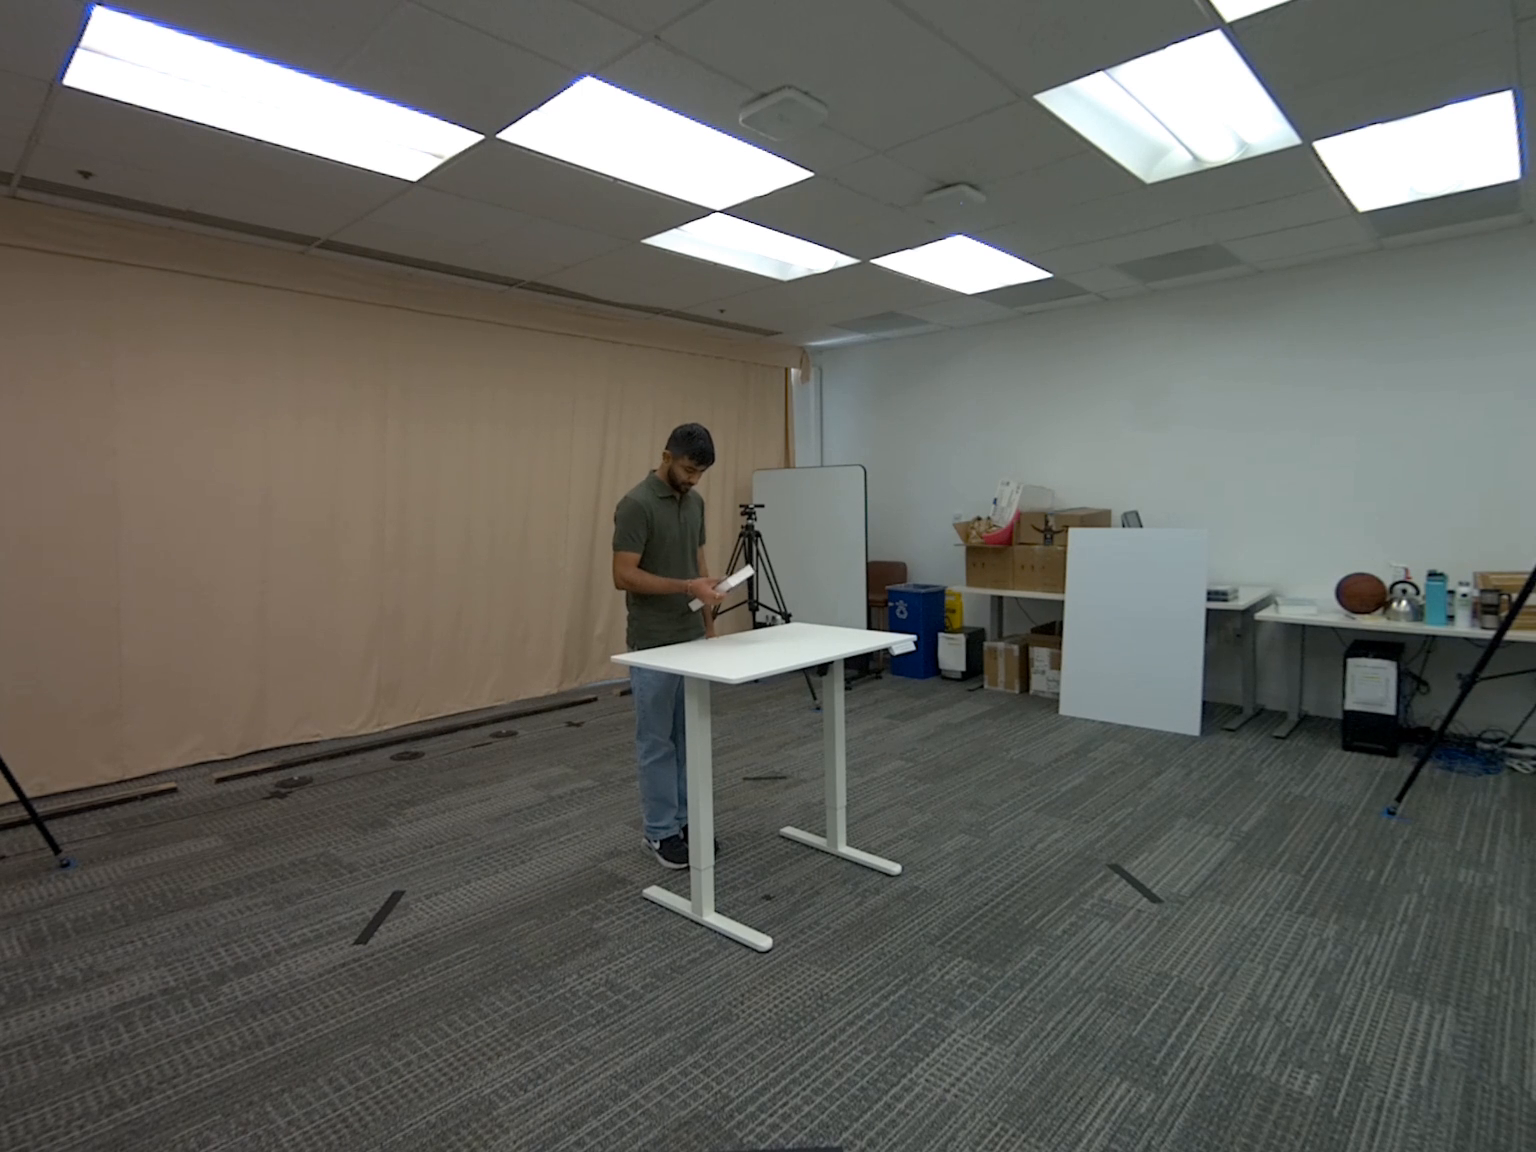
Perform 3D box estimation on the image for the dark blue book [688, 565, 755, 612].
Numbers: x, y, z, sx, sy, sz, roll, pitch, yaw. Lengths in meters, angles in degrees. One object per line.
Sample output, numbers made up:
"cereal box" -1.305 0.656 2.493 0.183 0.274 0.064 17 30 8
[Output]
"dark blue book" -0.180 0.050 3.212 0.249 0.045 0.160 -32 0 40
